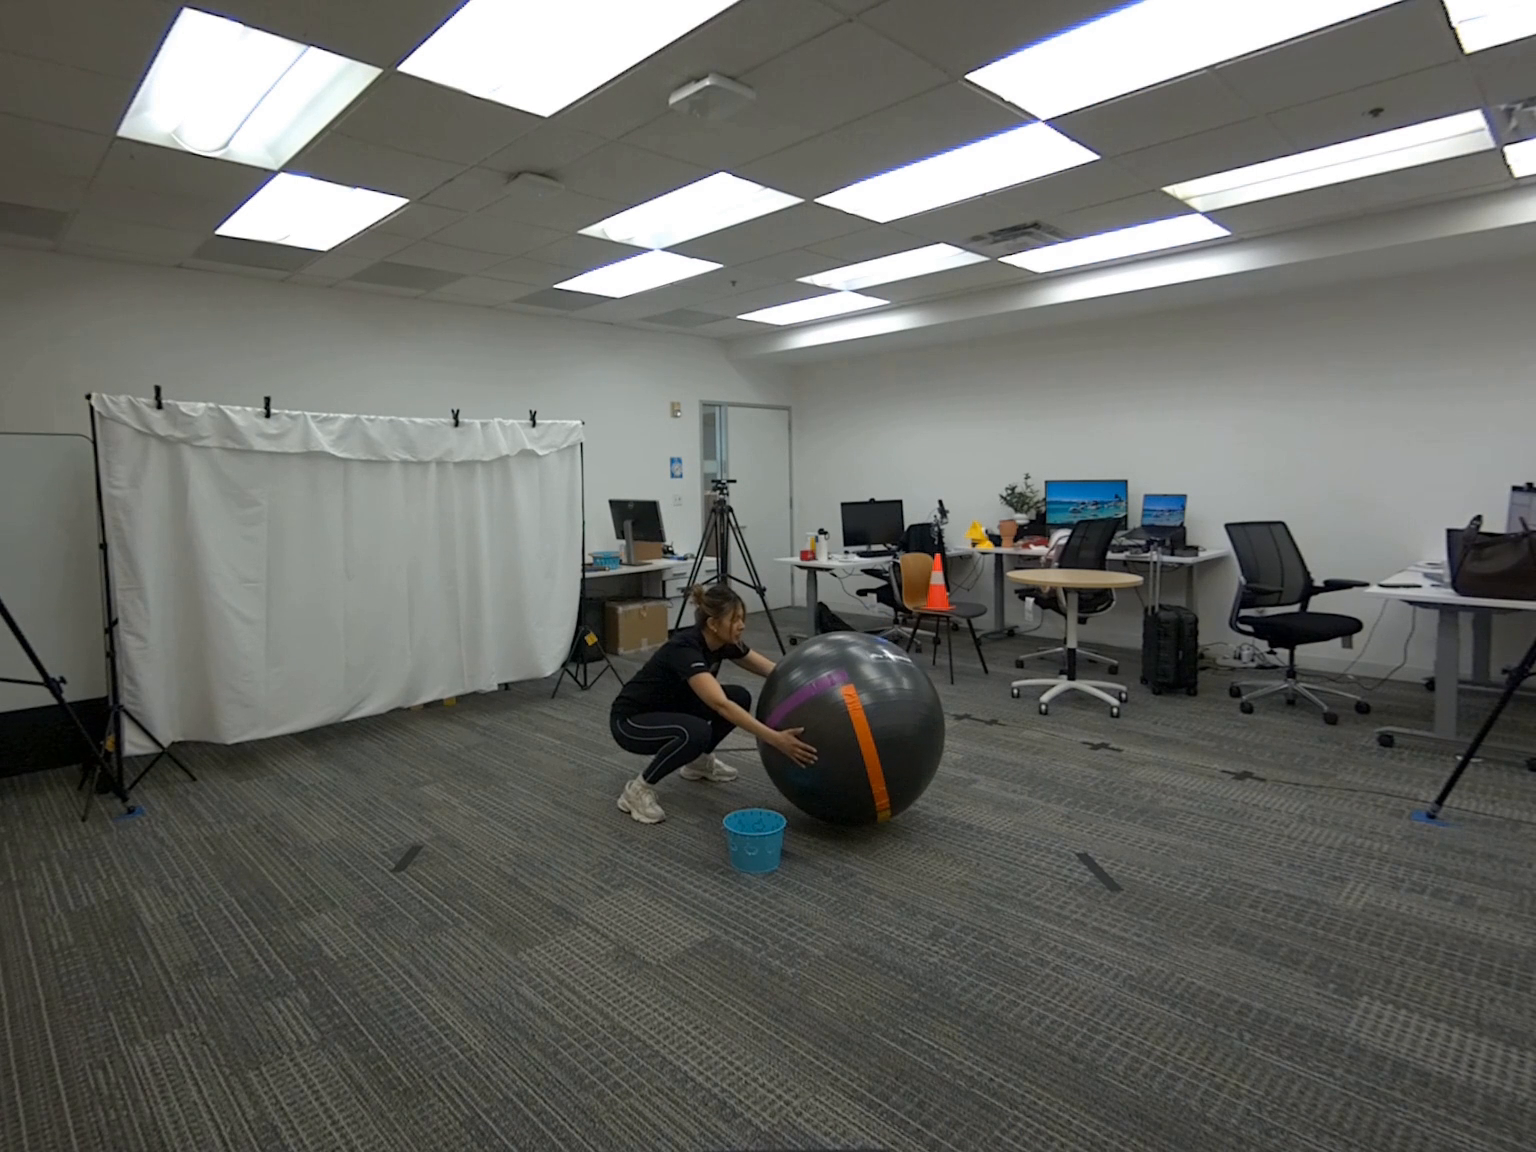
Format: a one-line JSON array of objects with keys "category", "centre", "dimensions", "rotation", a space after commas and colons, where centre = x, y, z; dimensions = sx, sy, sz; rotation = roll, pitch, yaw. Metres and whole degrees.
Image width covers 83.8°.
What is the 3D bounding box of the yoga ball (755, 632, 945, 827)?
[{"category": "yoga ball", "centre": [0.326, 0.606, 3.440], "dimensions": [0.757, 0.755, 0.762], "rotation": [-1, 5, -2]}]
